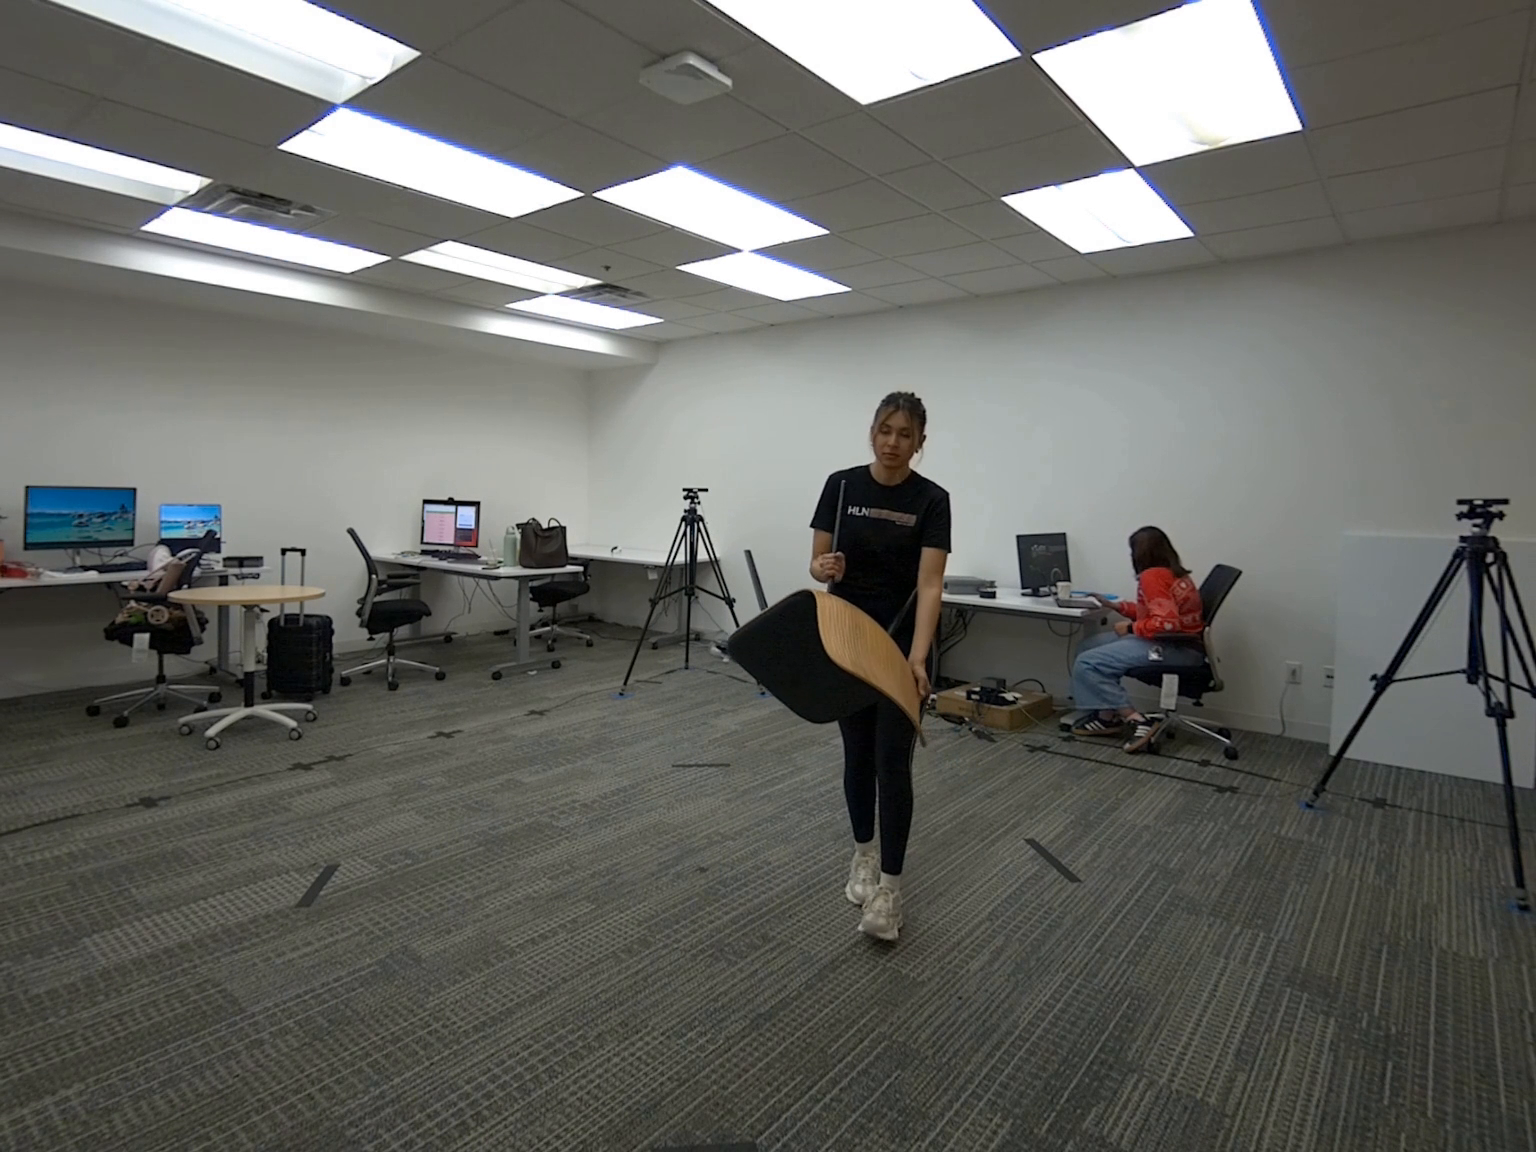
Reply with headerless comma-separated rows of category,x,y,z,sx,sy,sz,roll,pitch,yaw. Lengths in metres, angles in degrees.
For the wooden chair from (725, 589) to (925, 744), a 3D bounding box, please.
wooden chair,0.166,0.207,2.577,0.527,0.465,0.895,-35,24,26
